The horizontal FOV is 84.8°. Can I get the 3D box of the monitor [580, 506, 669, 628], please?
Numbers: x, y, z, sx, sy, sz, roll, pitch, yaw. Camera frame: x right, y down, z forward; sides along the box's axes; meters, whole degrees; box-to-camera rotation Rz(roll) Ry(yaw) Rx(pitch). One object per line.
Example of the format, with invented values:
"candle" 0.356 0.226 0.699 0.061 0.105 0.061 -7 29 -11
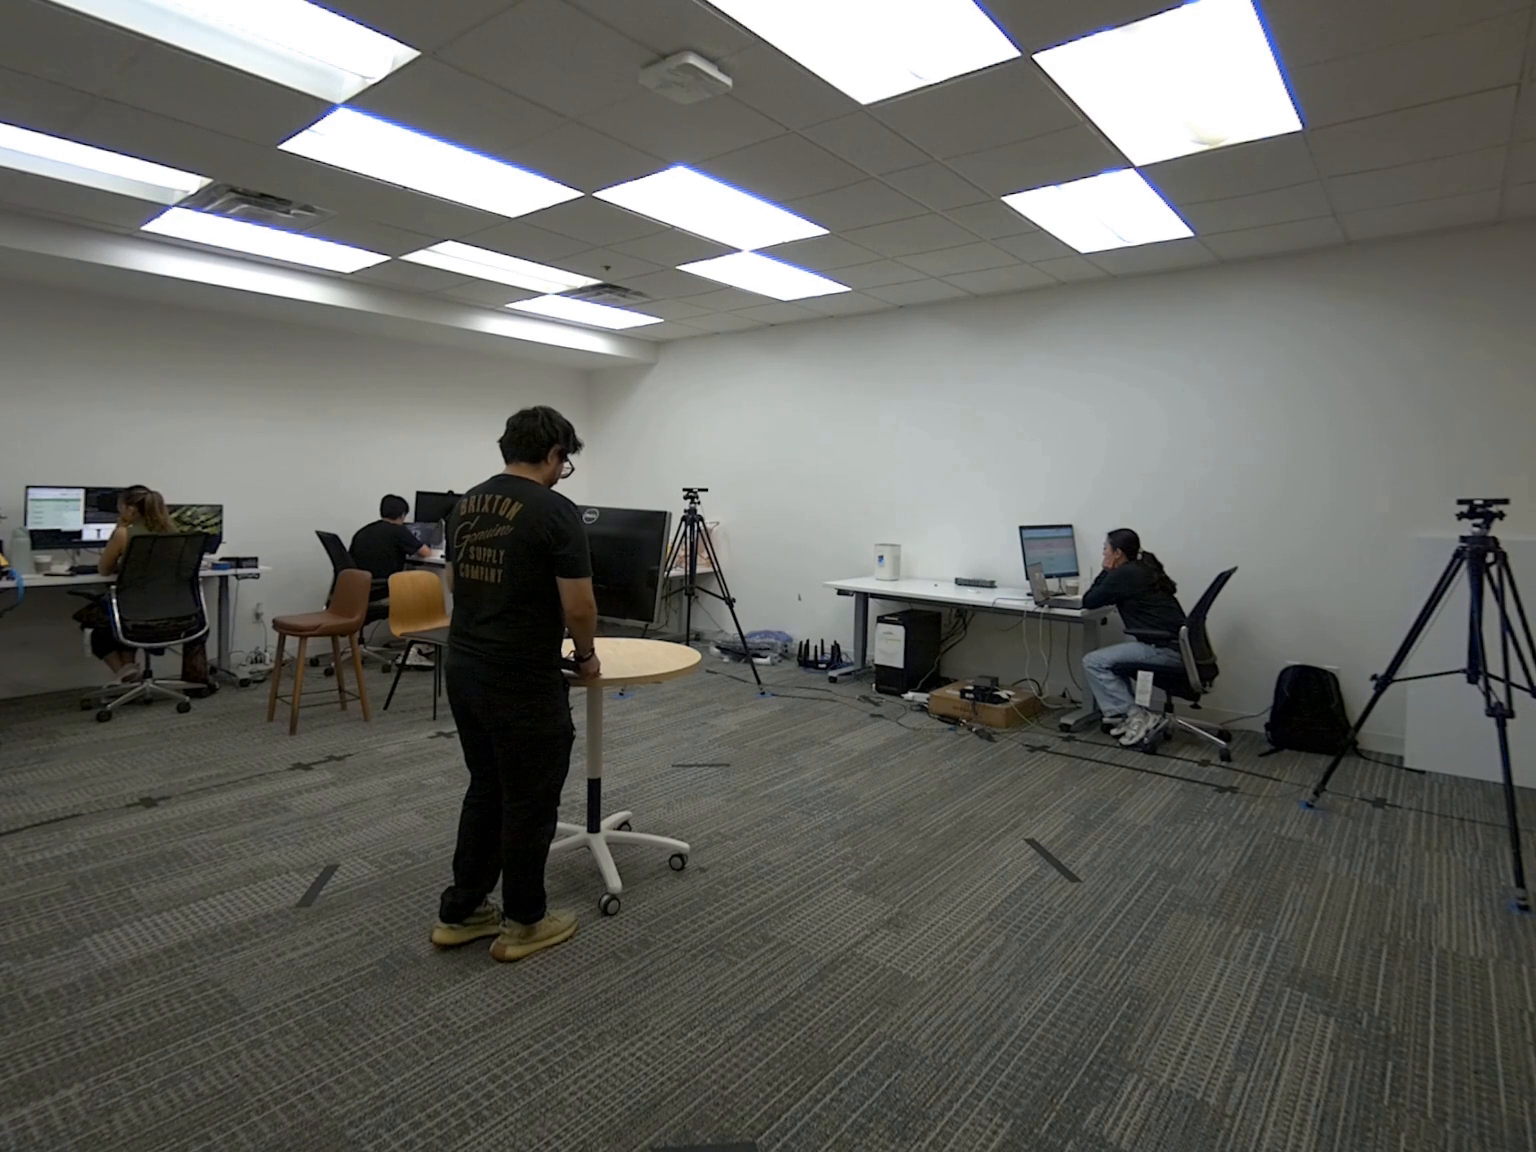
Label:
"monitor" -0.630 0.021 2.741 0.581 0.558 0.203 6 -9 26
